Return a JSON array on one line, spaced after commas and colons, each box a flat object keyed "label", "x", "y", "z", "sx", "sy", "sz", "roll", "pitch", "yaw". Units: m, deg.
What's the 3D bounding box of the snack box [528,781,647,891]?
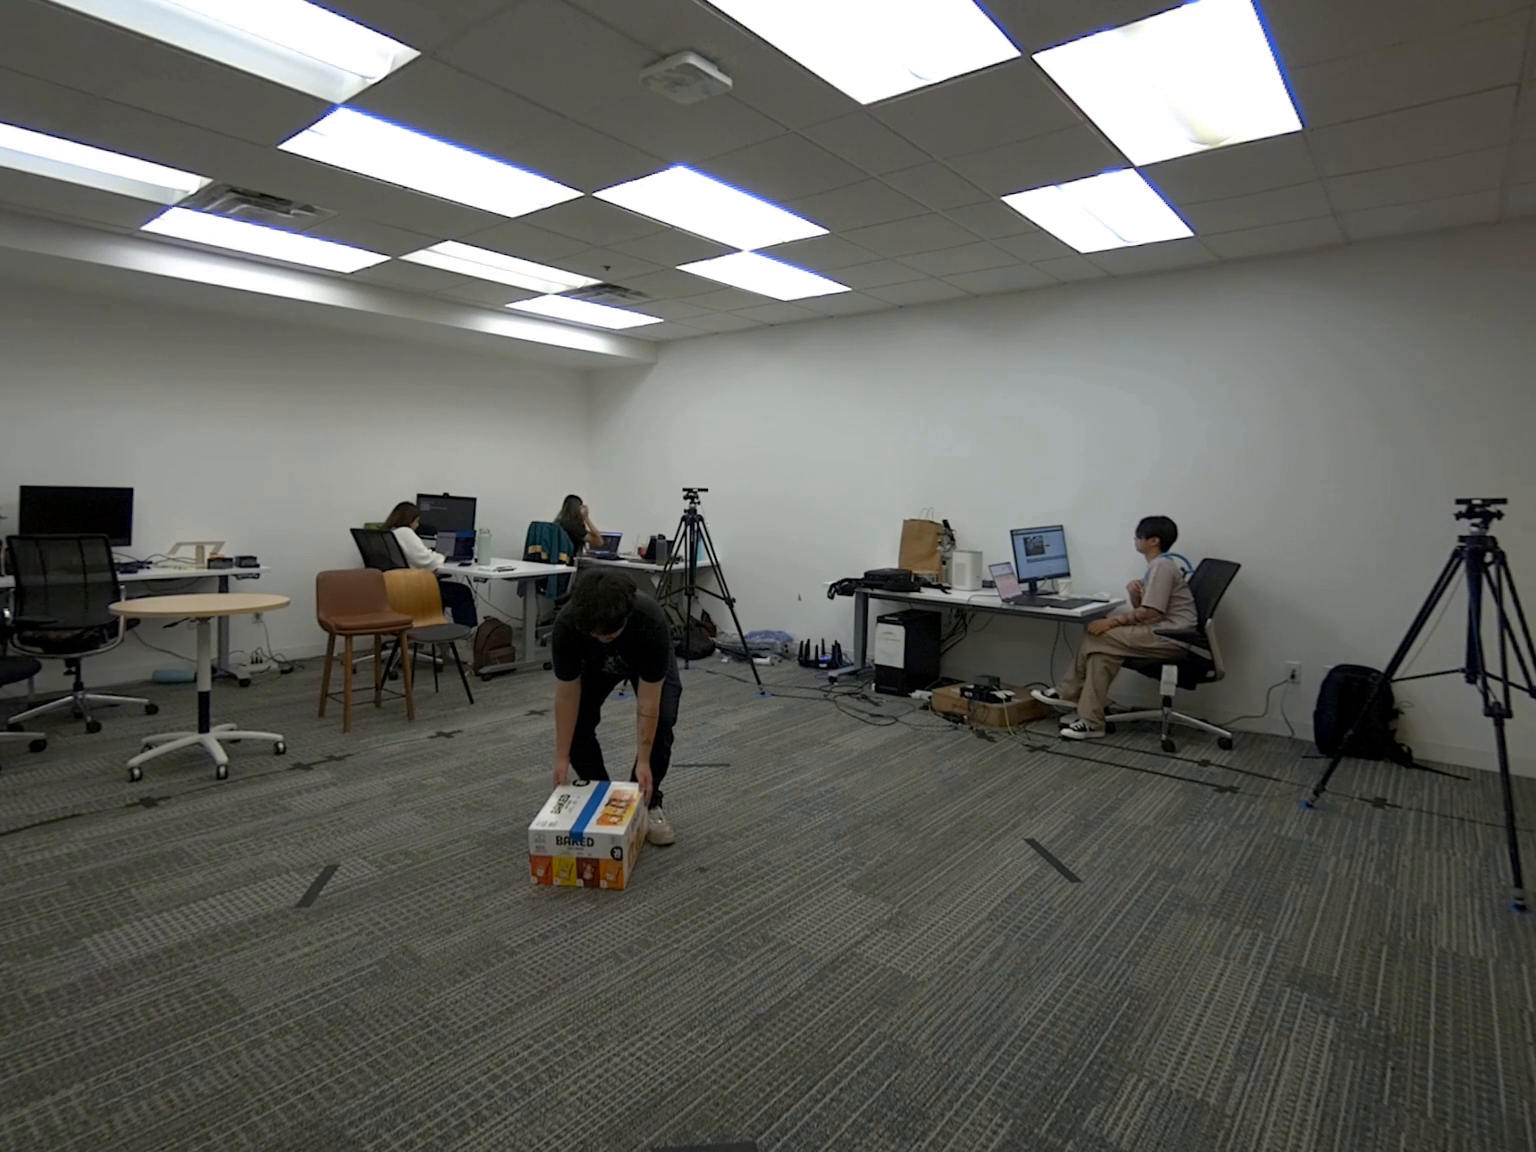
[{"label": "snack box", "x": -0.661, "y": 0.935, "z": 3.135, "sx": 0.342, "sy": 0.204, "sz": 0.407, "roll": 1, "pitch": 11, "yaw": 4}]
